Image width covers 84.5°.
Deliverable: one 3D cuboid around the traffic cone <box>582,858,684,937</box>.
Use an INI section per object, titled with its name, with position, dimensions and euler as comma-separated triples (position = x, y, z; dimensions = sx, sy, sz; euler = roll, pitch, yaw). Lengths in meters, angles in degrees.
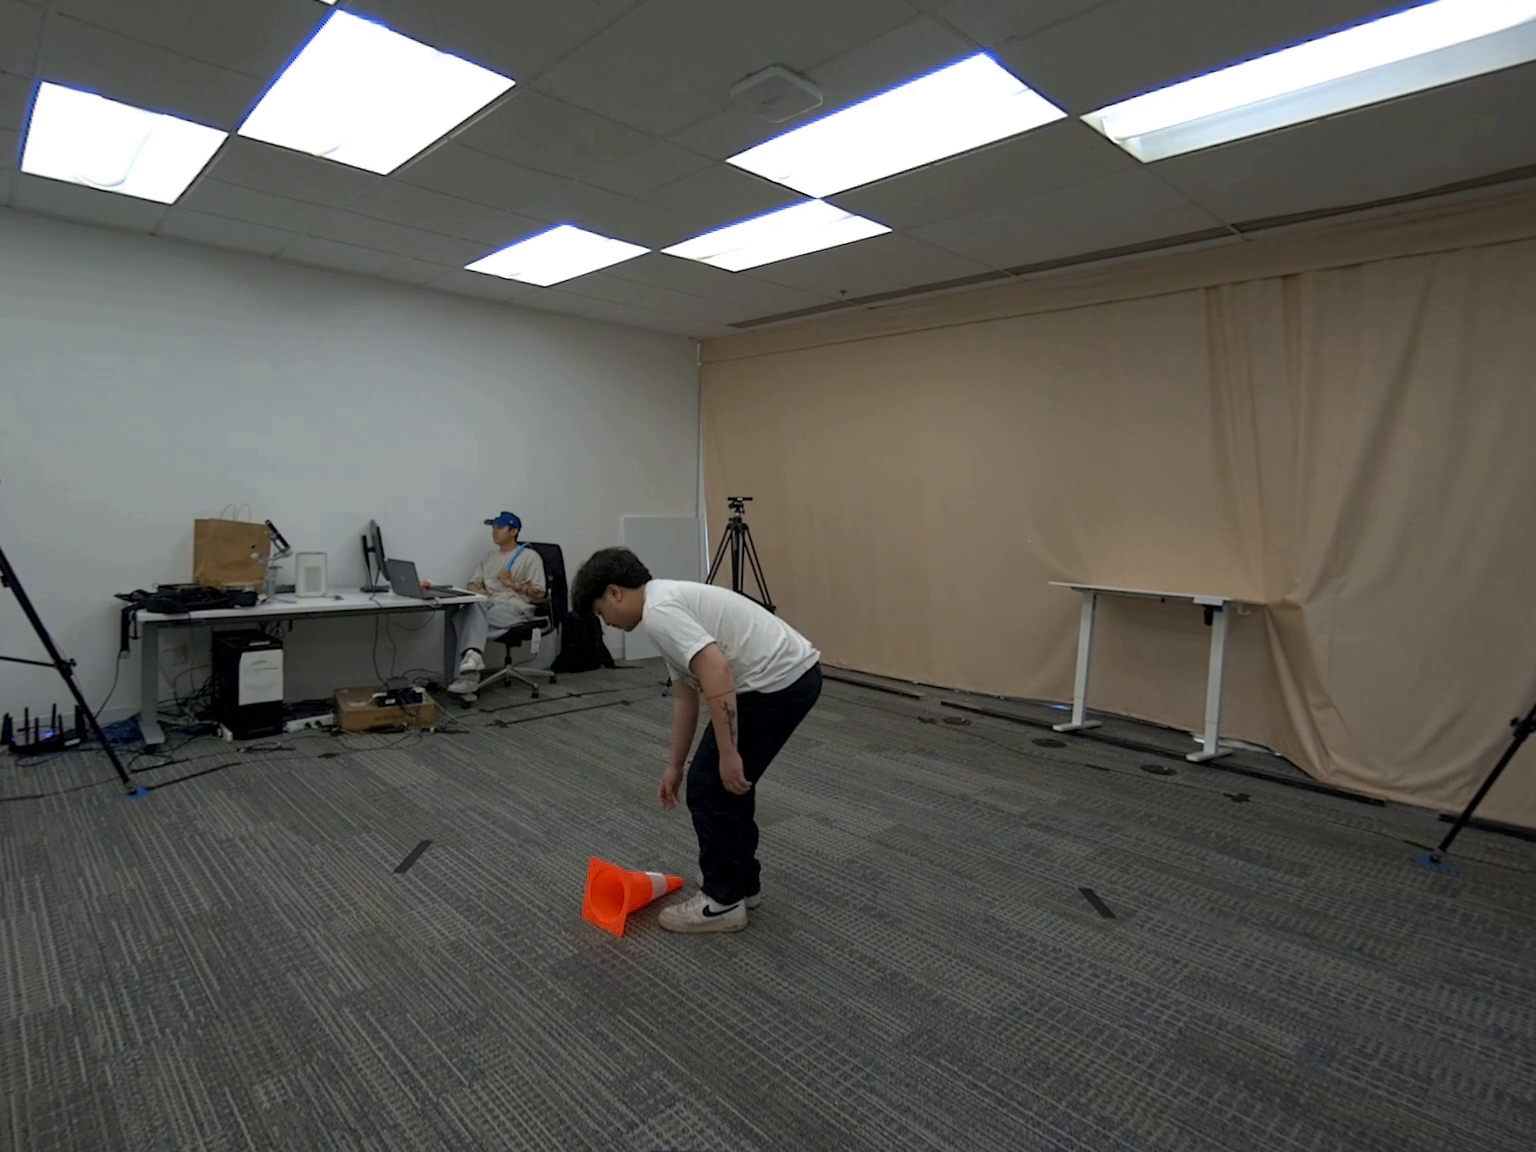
[traffic cone]
position = -0.423, 1.067, 2.875
dimensions = 0.210, 0.204, 0.373
euler = 5, -8, 35
